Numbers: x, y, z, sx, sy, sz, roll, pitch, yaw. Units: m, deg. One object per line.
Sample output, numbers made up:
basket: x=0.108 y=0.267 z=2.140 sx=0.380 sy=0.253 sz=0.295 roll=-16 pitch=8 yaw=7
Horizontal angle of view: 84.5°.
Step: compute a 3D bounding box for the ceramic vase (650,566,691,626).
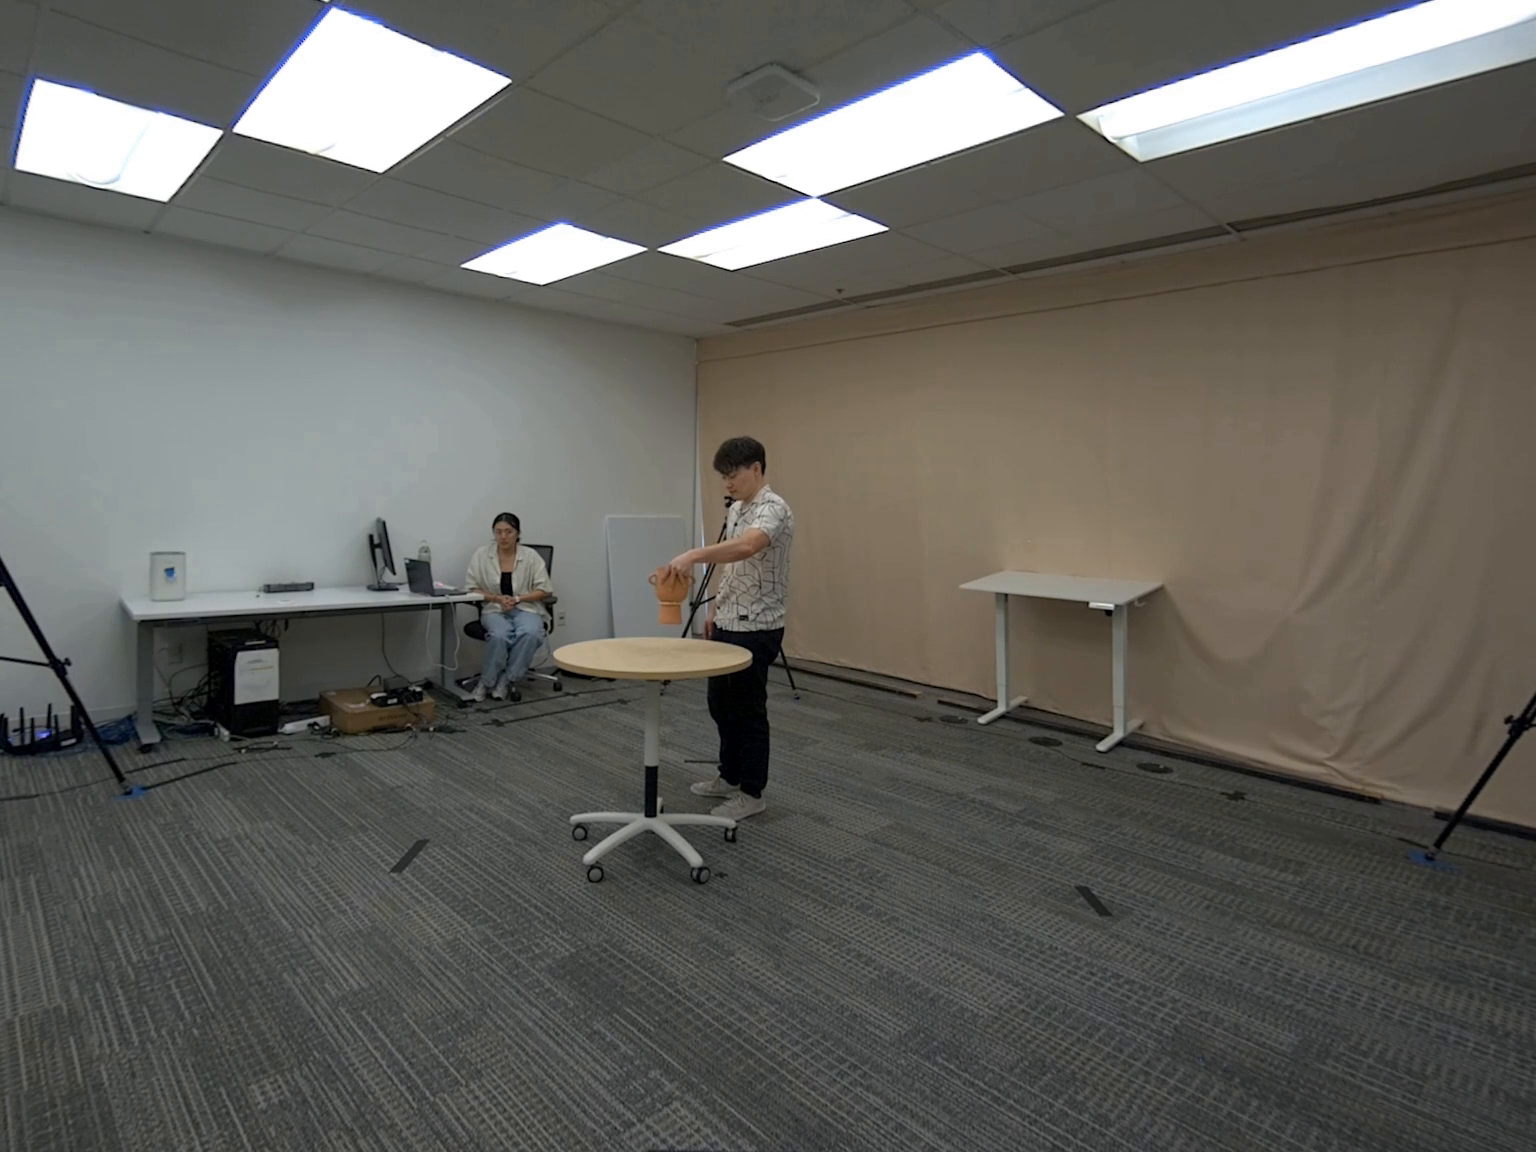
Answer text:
ceramic vase: x=-0.392 y=0.077 z=3.325 sx=0.161 sy=0.219 sz=0.133 roll=3 pitch=1 yaw=15
